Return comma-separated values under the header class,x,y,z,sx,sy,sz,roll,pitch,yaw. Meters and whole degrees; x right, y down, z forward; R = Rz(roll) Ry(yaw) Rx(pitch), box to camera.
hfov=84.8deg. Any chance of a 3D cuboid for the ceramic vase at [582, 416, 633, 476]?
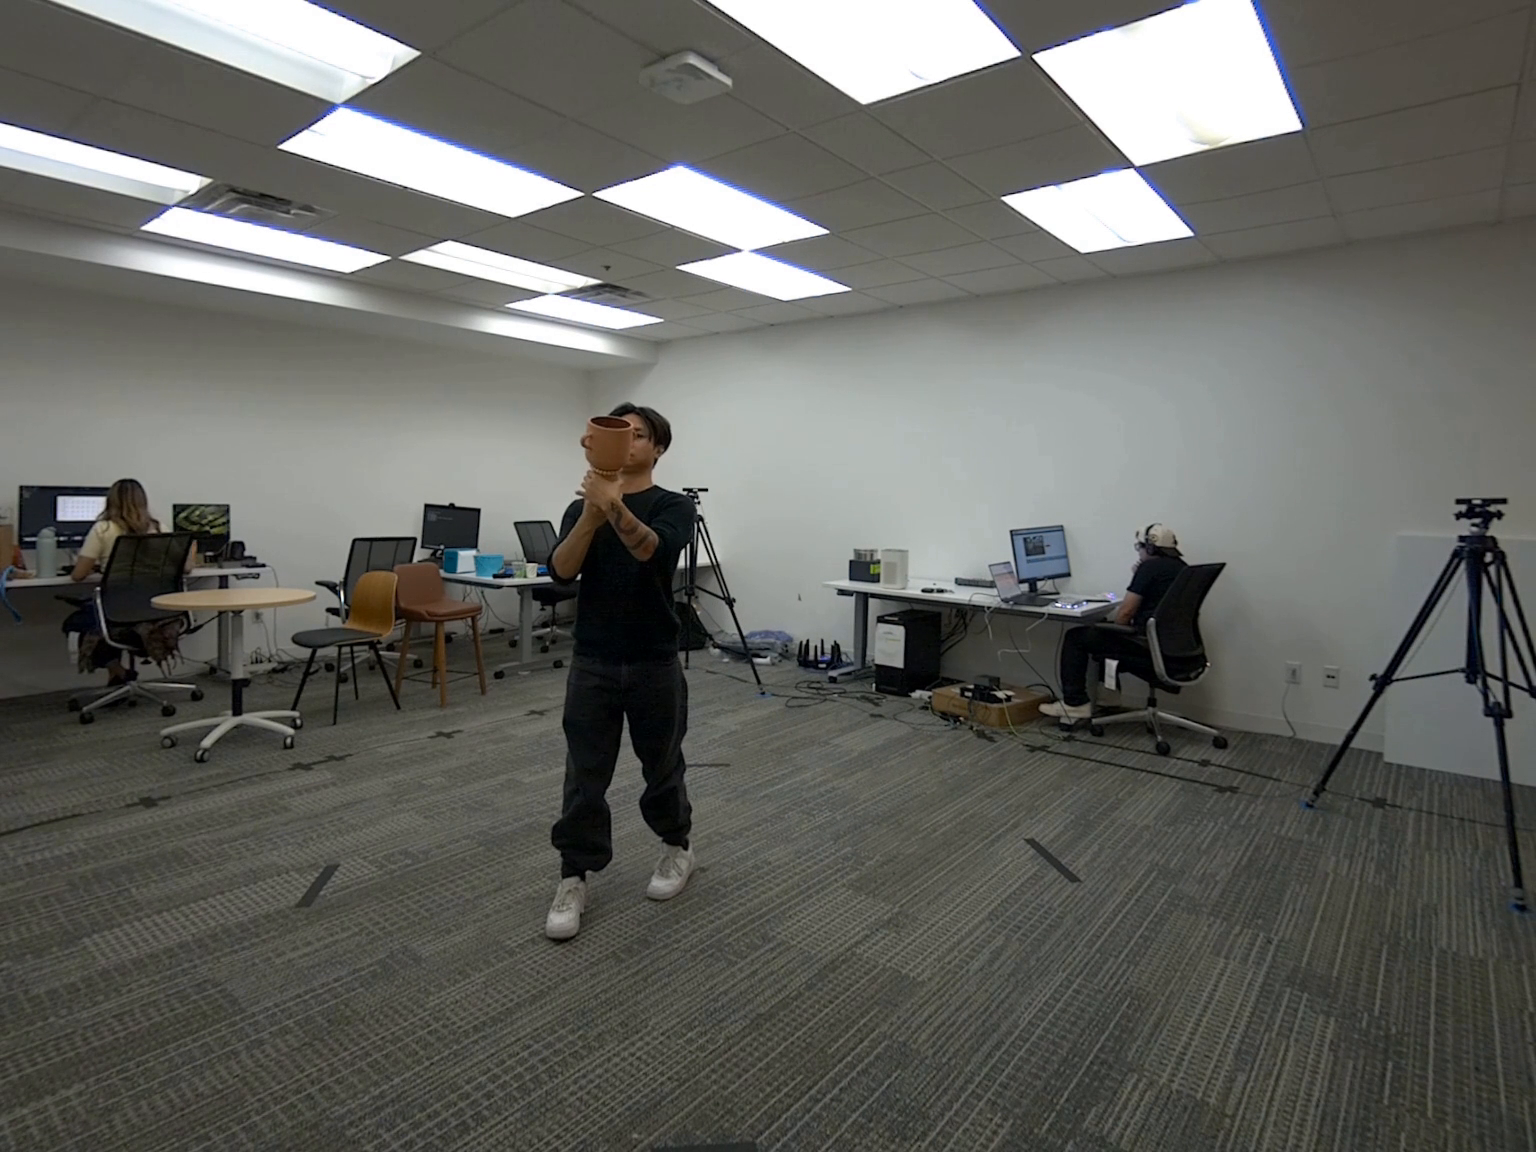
class,x,y,z,sx,sy,sz,roll,pitch,yaw
ceramic vase,-0.493,-0.352,2.504,0.157,0.216,0.138,7,23,-11
